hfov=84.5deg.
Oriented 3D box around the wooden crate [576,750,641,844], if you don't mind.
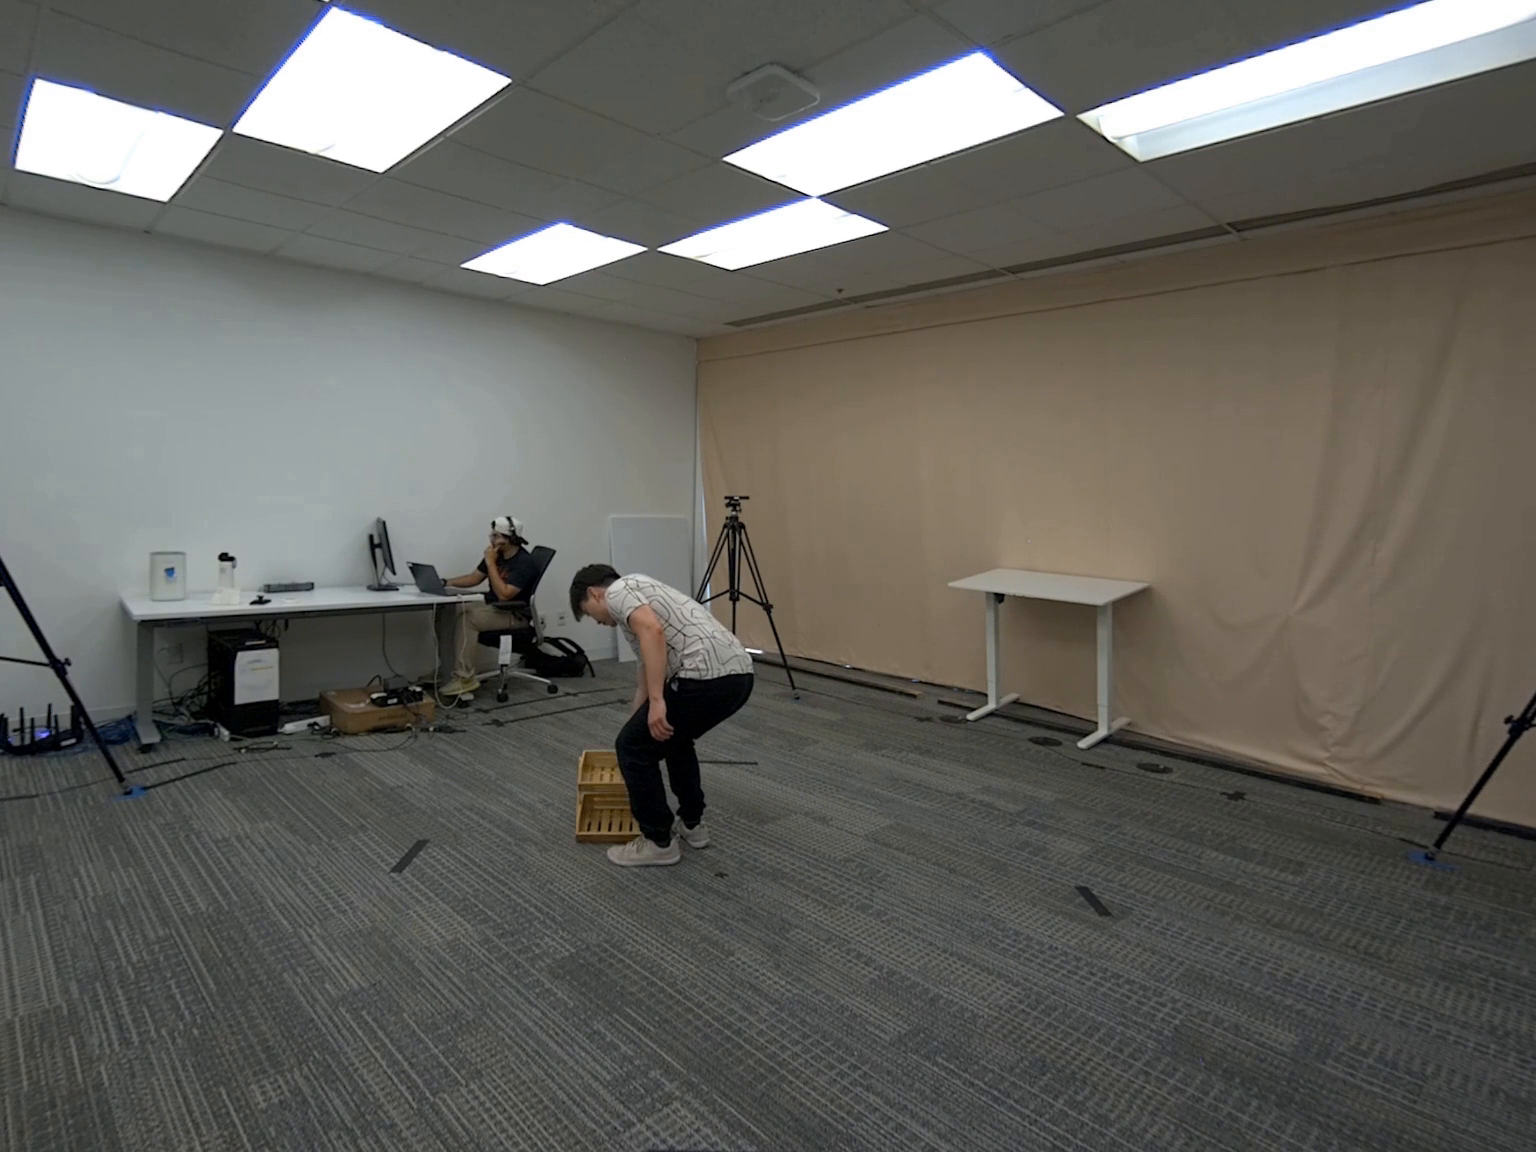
[{"bbox_3d":[-0.629,0.896,3.473,0.323,0.271,0.306,2,13,-5],"label":"wooden crate"}]
